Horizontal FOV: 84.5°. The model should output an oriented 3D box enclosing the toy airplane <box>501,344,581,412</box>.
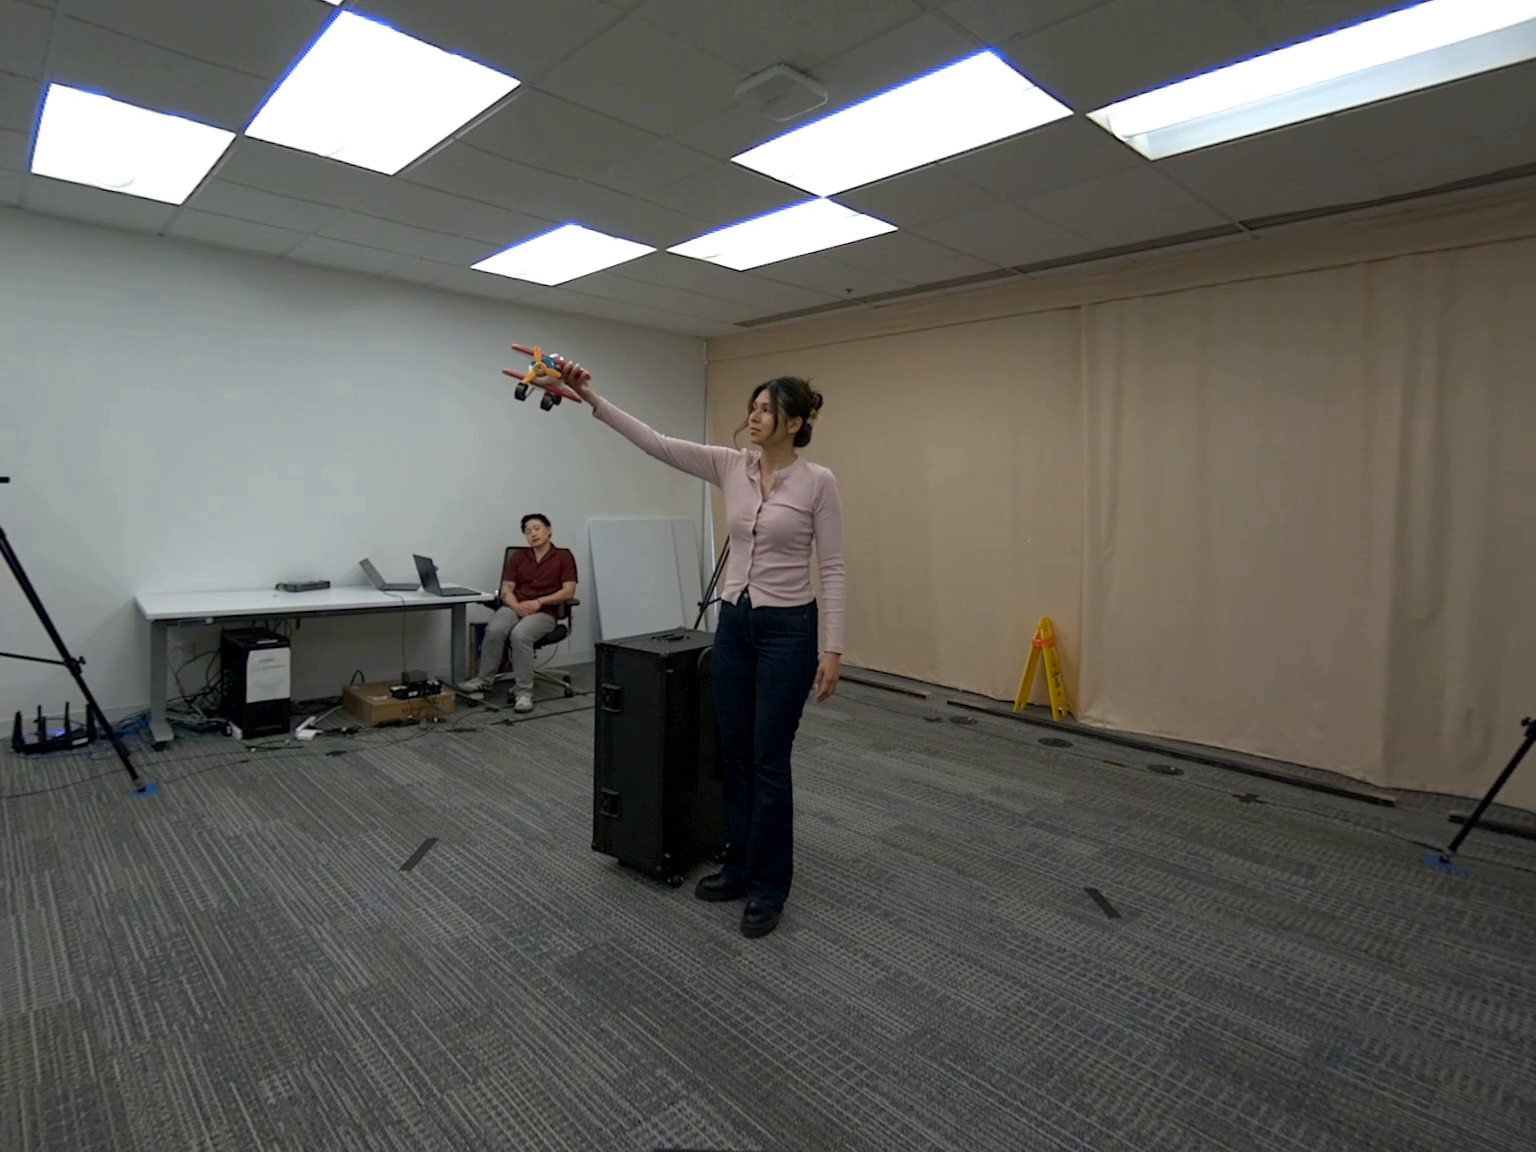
[{"bbox_3d":[-0.719,-0.619,2.610,0.245,0.155,0.267,14,17,-28],"label":"toy airplane"}]
